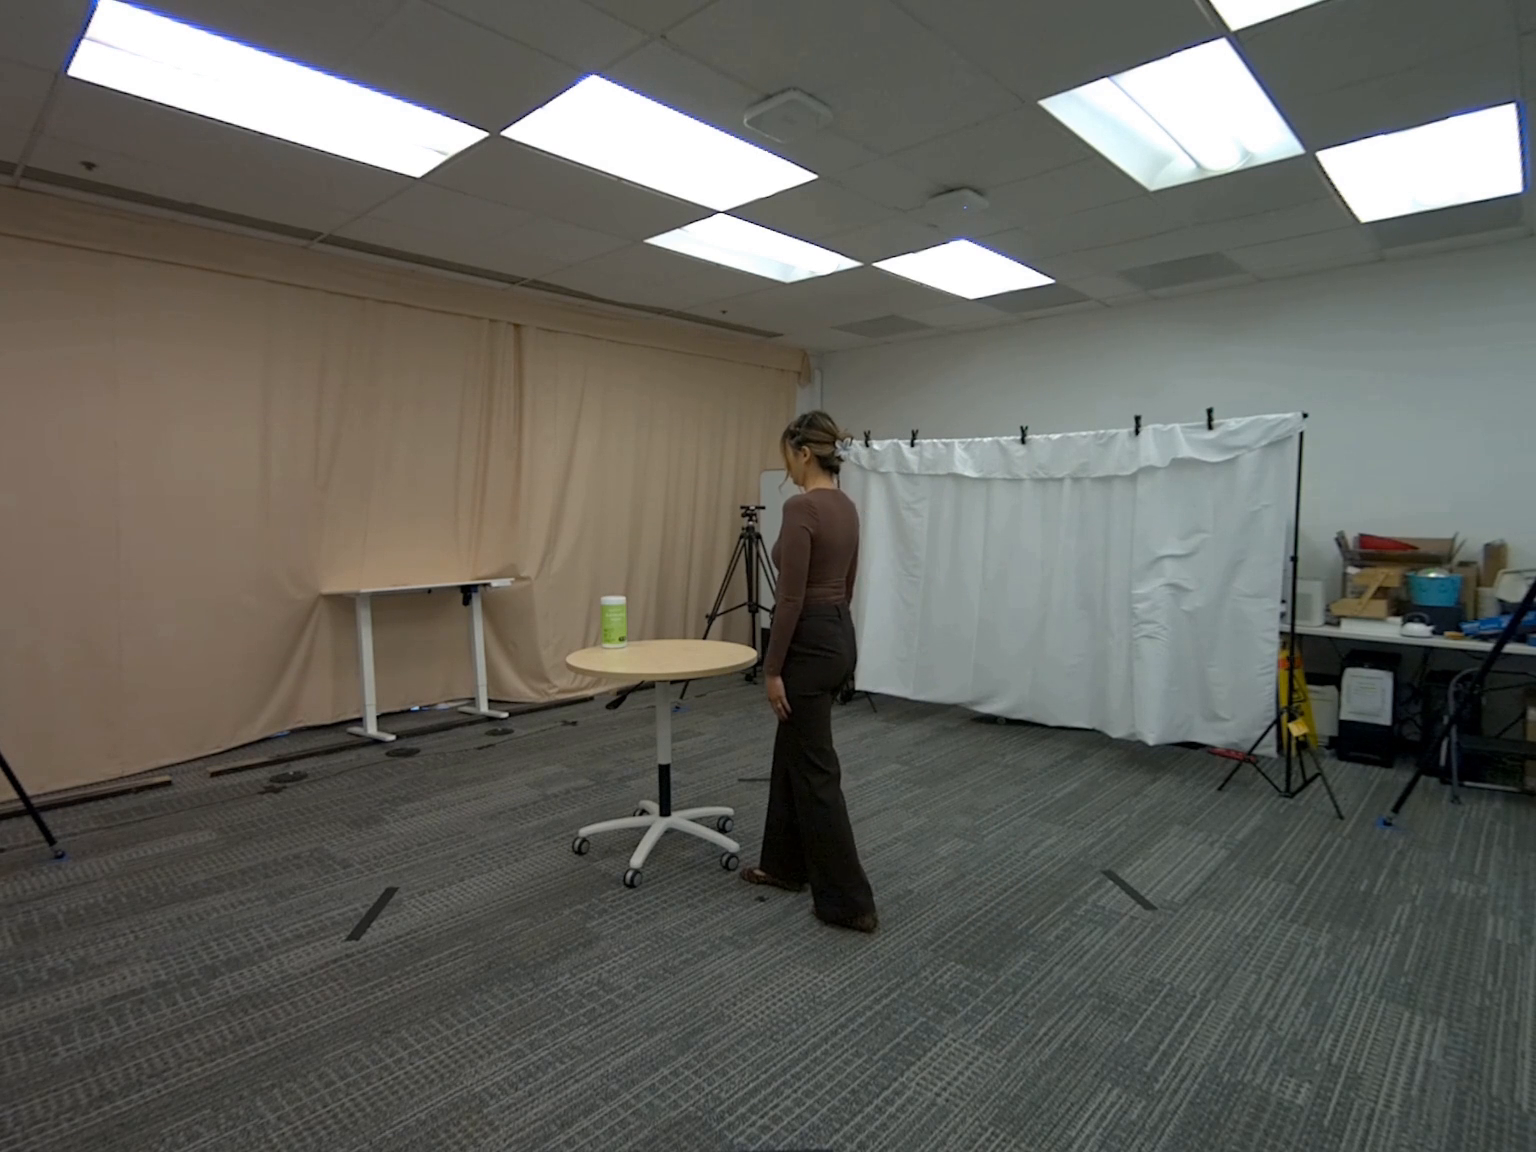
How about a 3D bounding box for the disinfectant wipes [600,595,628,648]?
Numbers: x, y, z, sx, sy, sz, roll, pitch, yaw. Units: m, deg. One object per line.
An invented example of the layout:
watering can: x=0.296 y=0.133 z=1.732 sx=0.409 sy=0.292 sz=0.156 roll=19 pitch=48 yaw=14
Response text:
disinfectant wipes: x=-0.667 y=0.200 z=3.604 sx=0.118 sy=0.217 sz=0.118 roll=-1 pitch=3 yaw=-2
